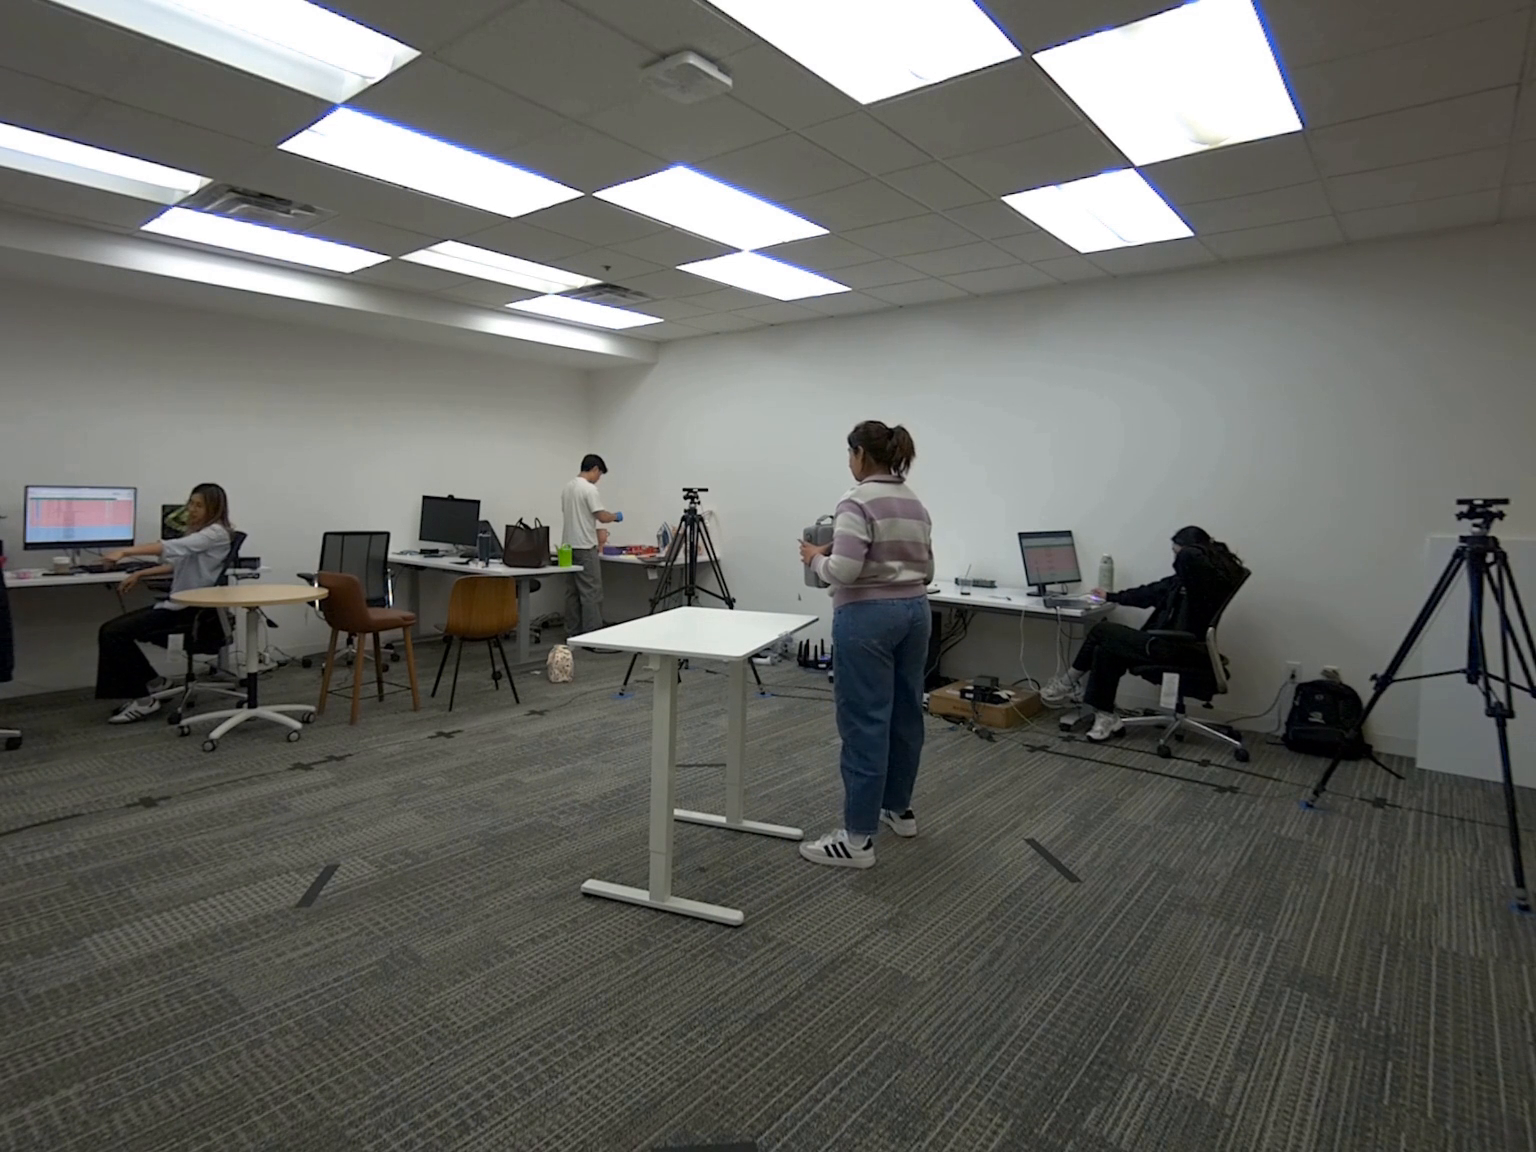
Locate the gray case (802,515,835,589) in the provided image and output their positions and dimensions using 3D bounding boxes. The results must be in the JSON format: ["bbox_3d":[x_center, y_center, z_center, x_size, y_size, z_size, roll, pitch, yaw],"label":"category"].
[{"bbox_3d":[0.250,-0.092,3.515,0.107,0.260,0.250,-4,2,35],"label":"gray case"}]
